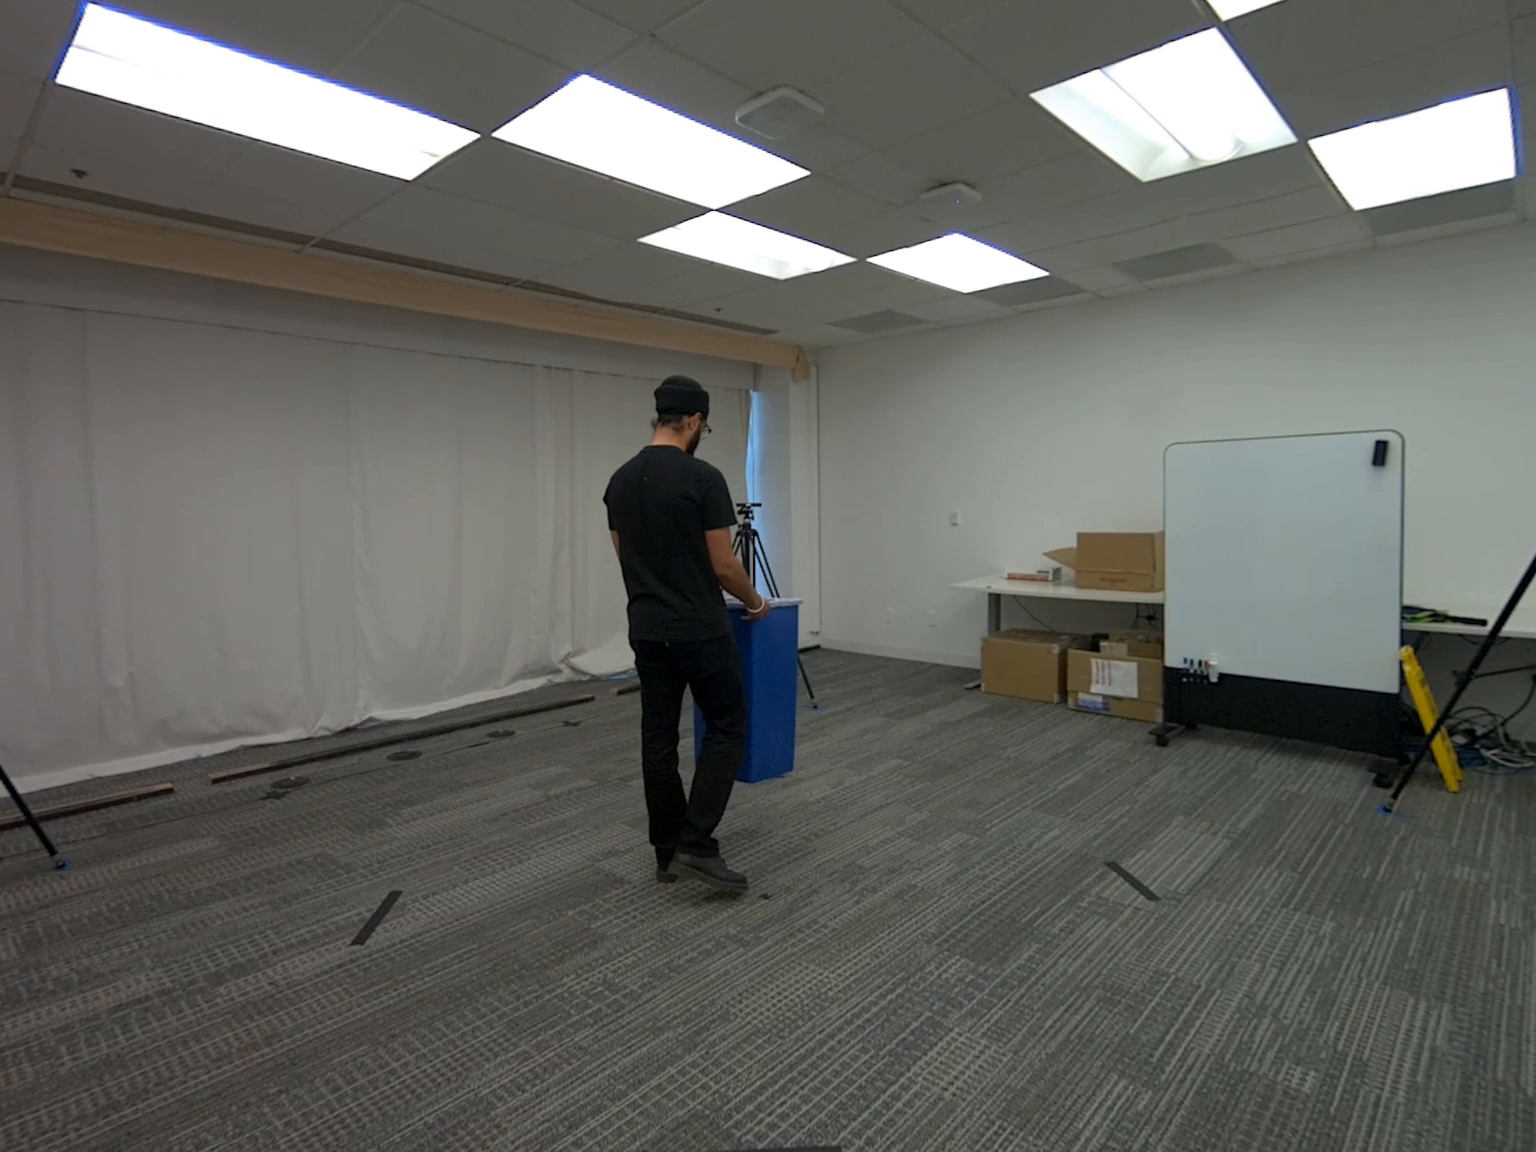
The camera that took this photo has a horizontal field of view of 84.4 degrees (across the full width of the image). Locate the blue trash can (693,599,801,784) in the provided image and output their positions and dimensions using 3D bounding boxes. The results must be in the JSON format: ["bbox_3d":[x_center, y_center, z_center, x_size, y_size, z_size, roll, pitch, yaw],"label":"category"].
[{"bbox_3d":[-0.092,0.457,3.494,0.390,0.714,0.362,-1,-1,38],"label":"blue trash can"}]
